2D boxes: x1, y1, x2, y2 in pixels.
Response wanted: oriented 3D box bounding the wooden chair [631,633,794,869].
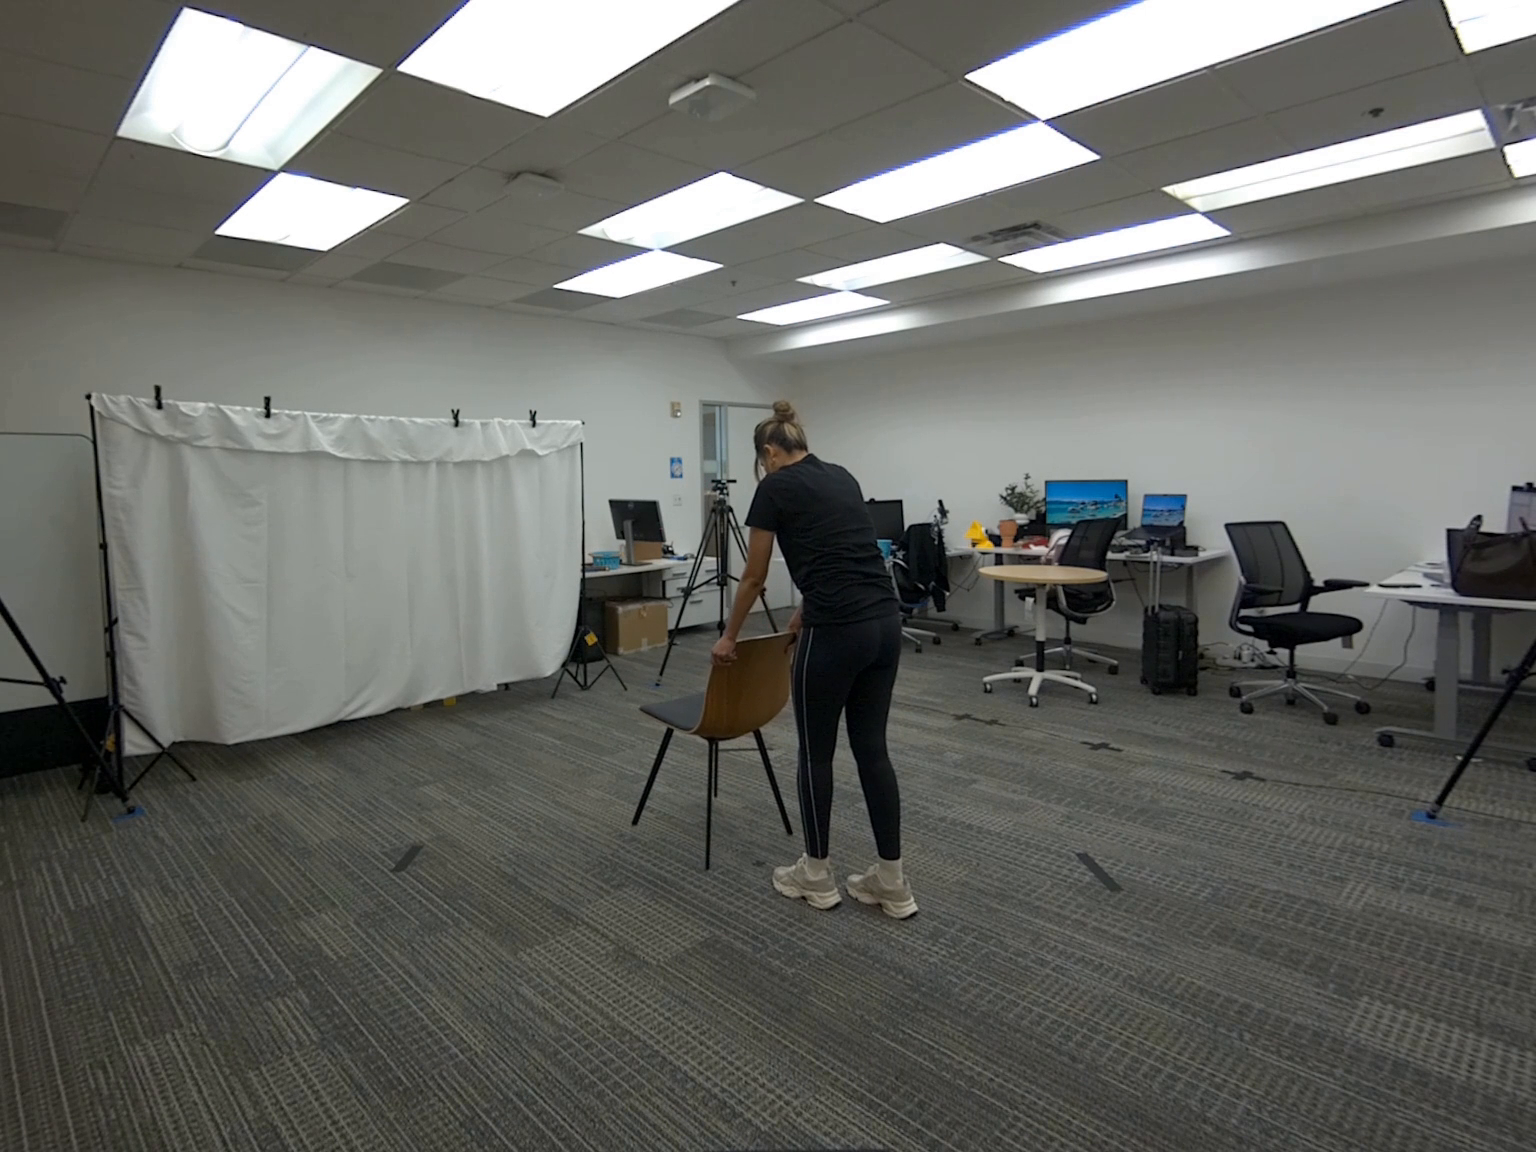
[{"bbox_3d":[-0.209,0.583,3.325,0.465,0.870,0.542,-5,15,-44],"label":"wooden chair"}]
